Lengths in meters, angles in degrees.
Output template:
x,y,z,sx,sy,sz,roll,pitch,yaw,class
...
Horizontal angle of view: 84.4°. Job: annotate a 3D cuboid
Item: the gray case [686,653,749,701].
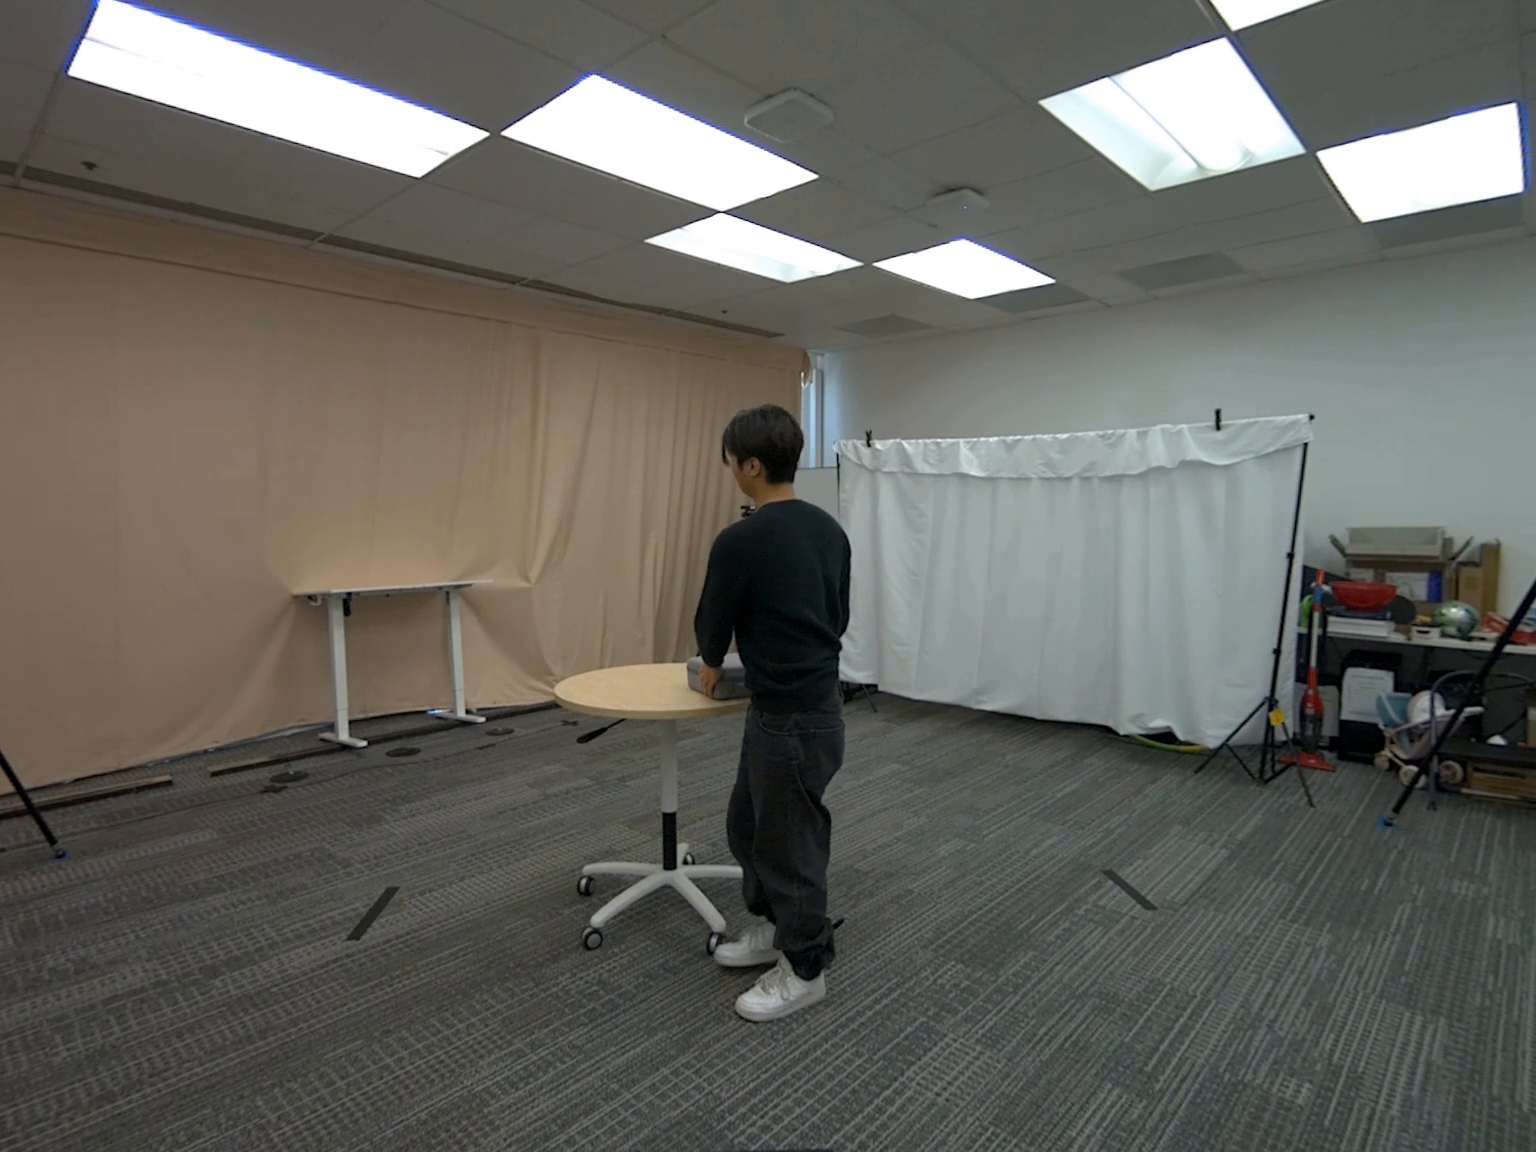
x,y,z,sx,sy,sz,roll,pitch,yaw,class
-0.127,0.328,2.768,0.251,0.104,0.267,-2,4,-26,gray case
